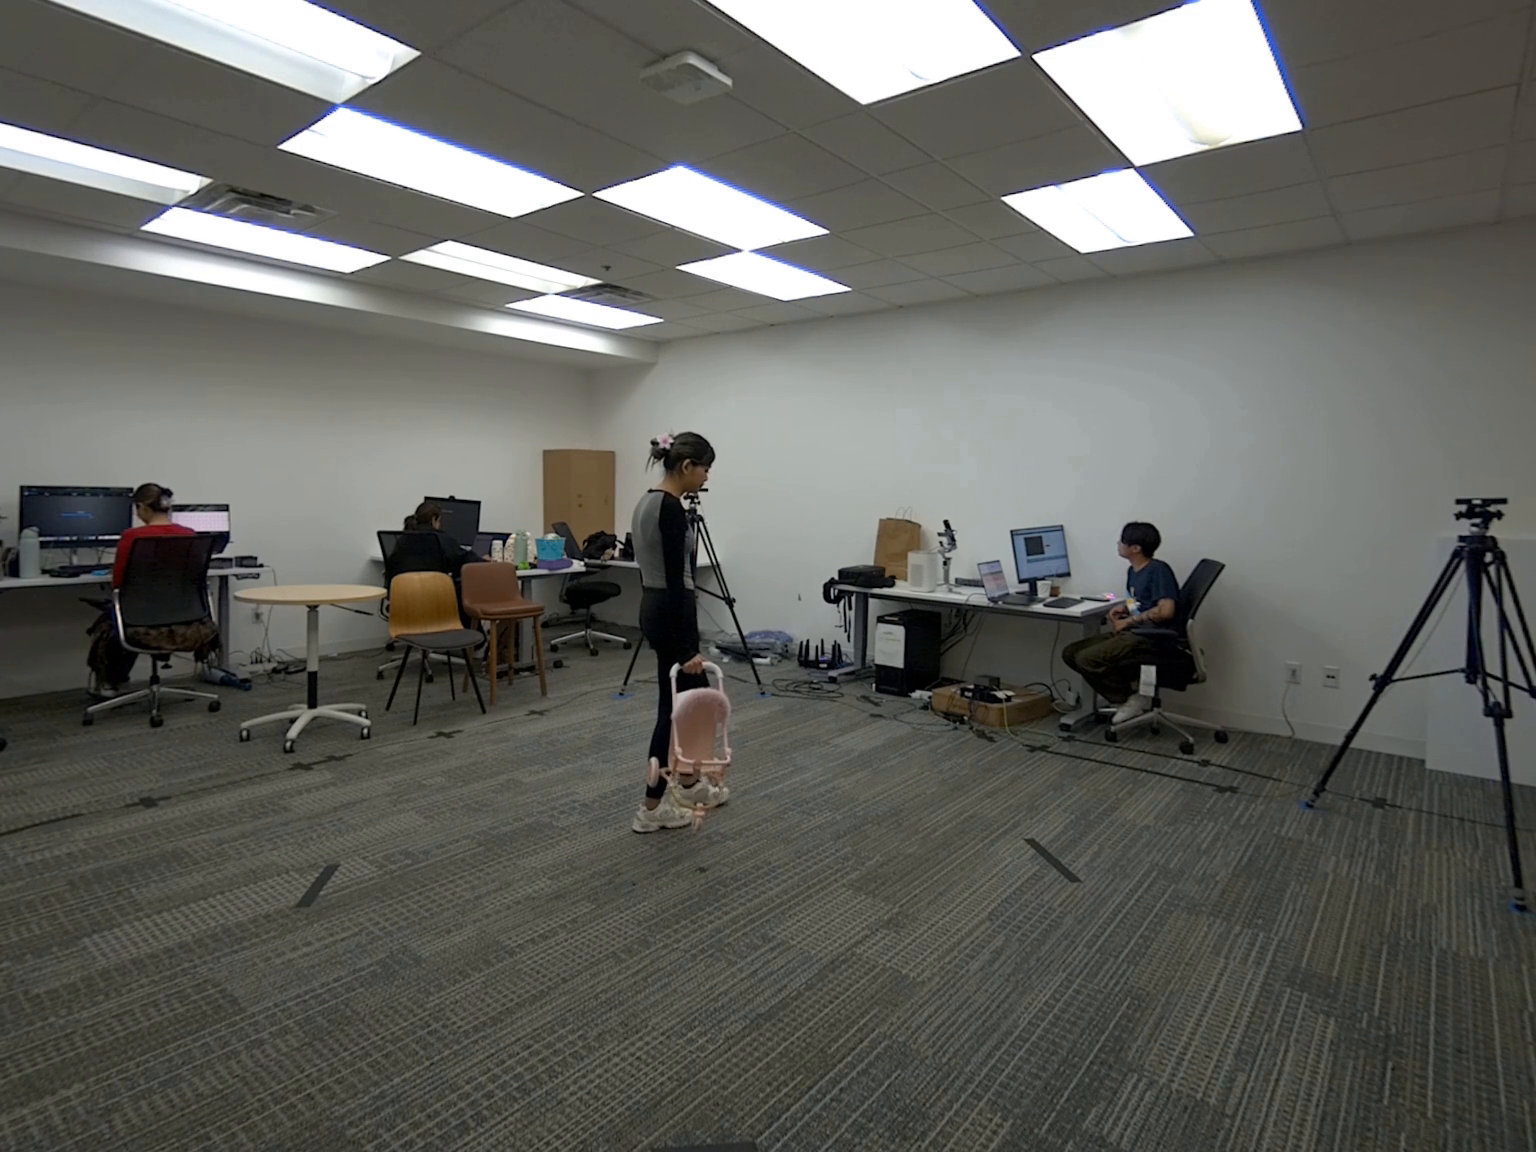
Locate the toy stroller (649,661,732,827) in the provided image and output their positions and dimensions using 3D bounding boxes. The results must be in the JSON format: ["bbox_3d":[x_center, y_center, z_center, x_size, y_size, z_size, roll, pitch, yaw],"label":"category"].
[{"bbox_3d":[-0.273,0.621,3.146,0.277,0.532,0.349,7,6,-15],"label":"toy stroller"}]
